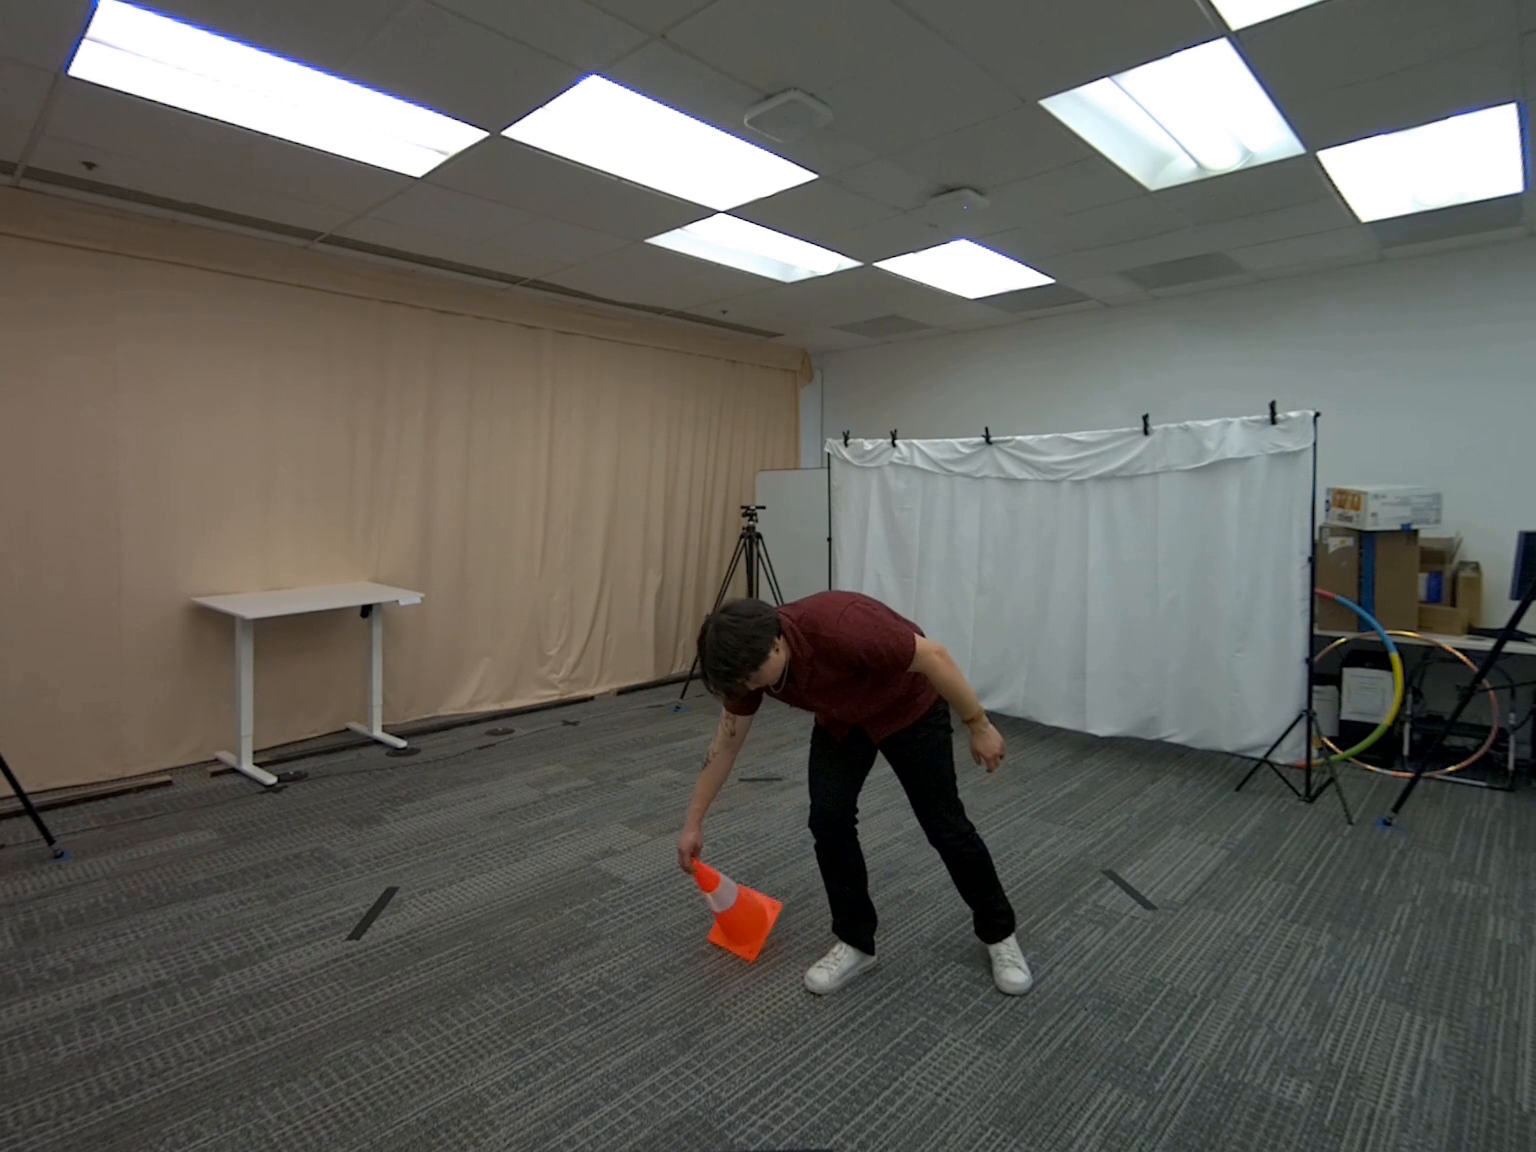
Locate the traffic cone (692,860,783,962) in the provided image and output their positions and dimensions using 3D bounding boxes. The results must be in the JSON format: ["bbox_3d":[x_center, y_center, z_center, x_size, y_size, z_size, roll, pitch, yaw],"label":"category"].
[{"bbox_3d":[-0.136,0.976,2.563,0.211,0.372,0.203,2,47,38],"label":"traffic cone"}]
